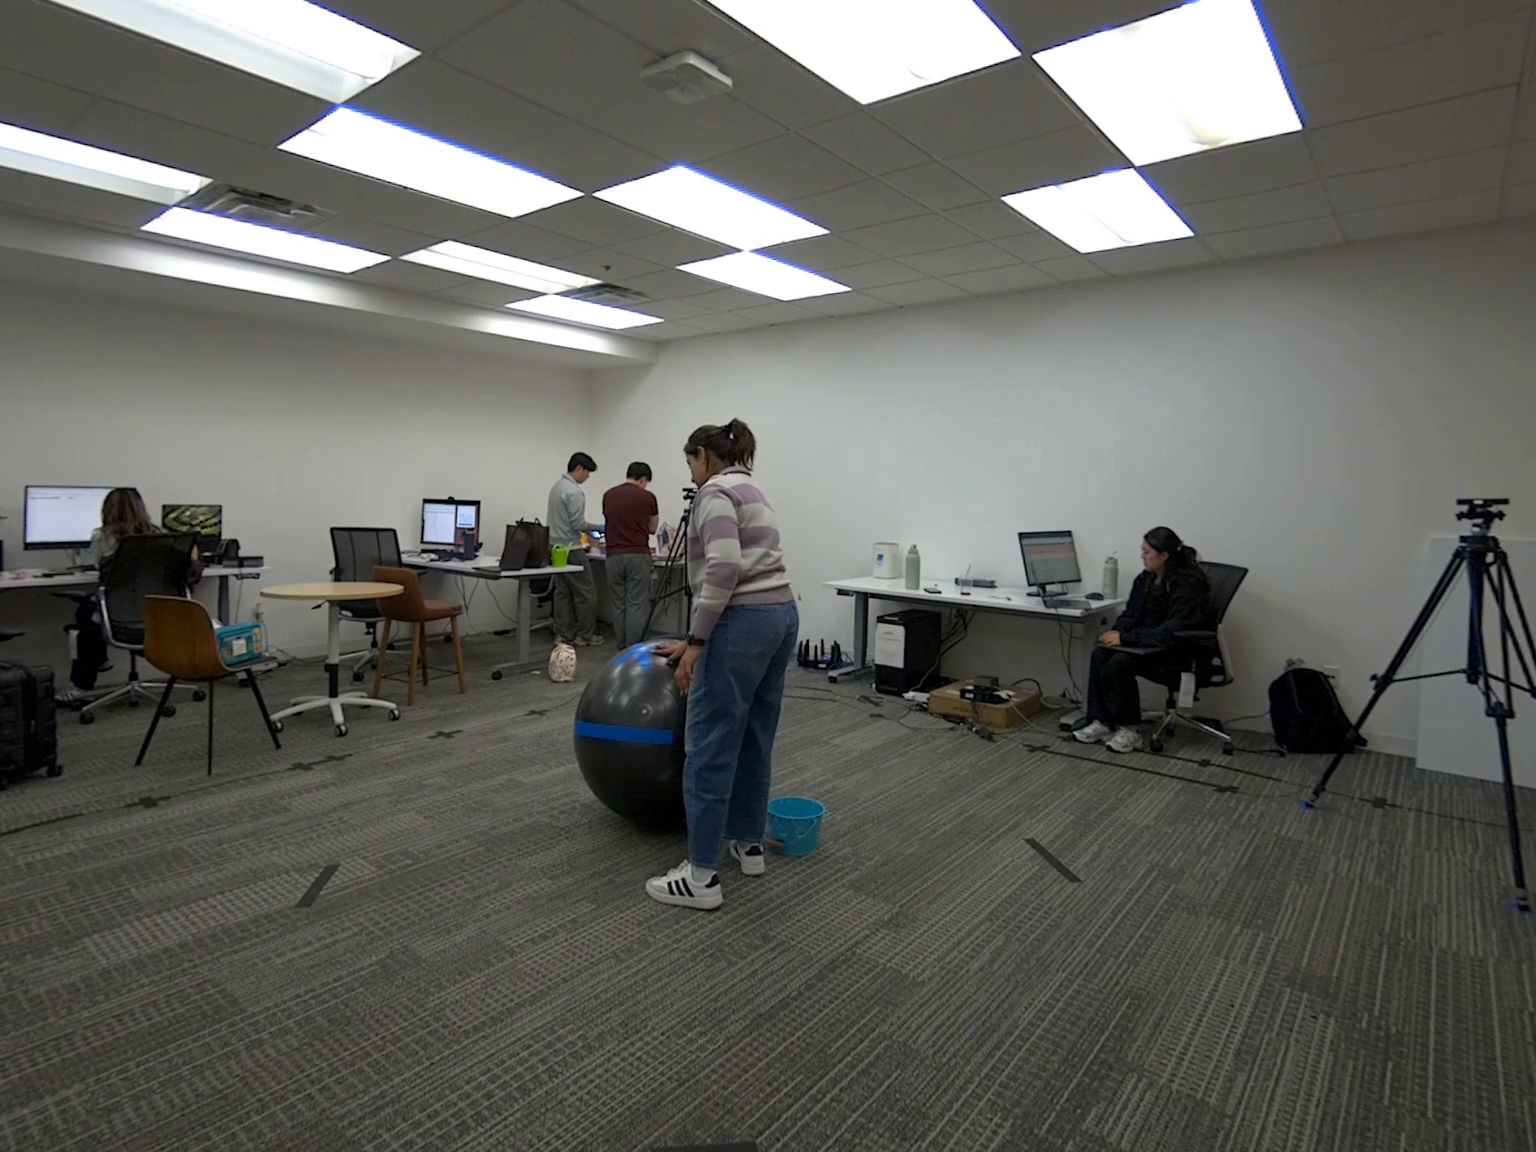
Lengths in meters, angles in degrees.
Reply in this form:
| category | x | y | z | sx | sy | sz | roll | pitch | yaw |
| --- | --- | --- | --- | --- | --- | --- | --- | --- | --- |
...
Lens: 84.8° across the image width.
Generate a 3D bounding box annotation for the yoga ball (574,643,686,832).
| category | x | y | z | sx | sy | sz | roll | pitch | yaw |
| --- | --- | --- | --- | --- | --- | --- | --- | --- | --- |
| yoga ball | -0.449 | 0.654 | 3.573 | 0.757 | 0.756 | 0.762 | 1 | 4 | -2 |
